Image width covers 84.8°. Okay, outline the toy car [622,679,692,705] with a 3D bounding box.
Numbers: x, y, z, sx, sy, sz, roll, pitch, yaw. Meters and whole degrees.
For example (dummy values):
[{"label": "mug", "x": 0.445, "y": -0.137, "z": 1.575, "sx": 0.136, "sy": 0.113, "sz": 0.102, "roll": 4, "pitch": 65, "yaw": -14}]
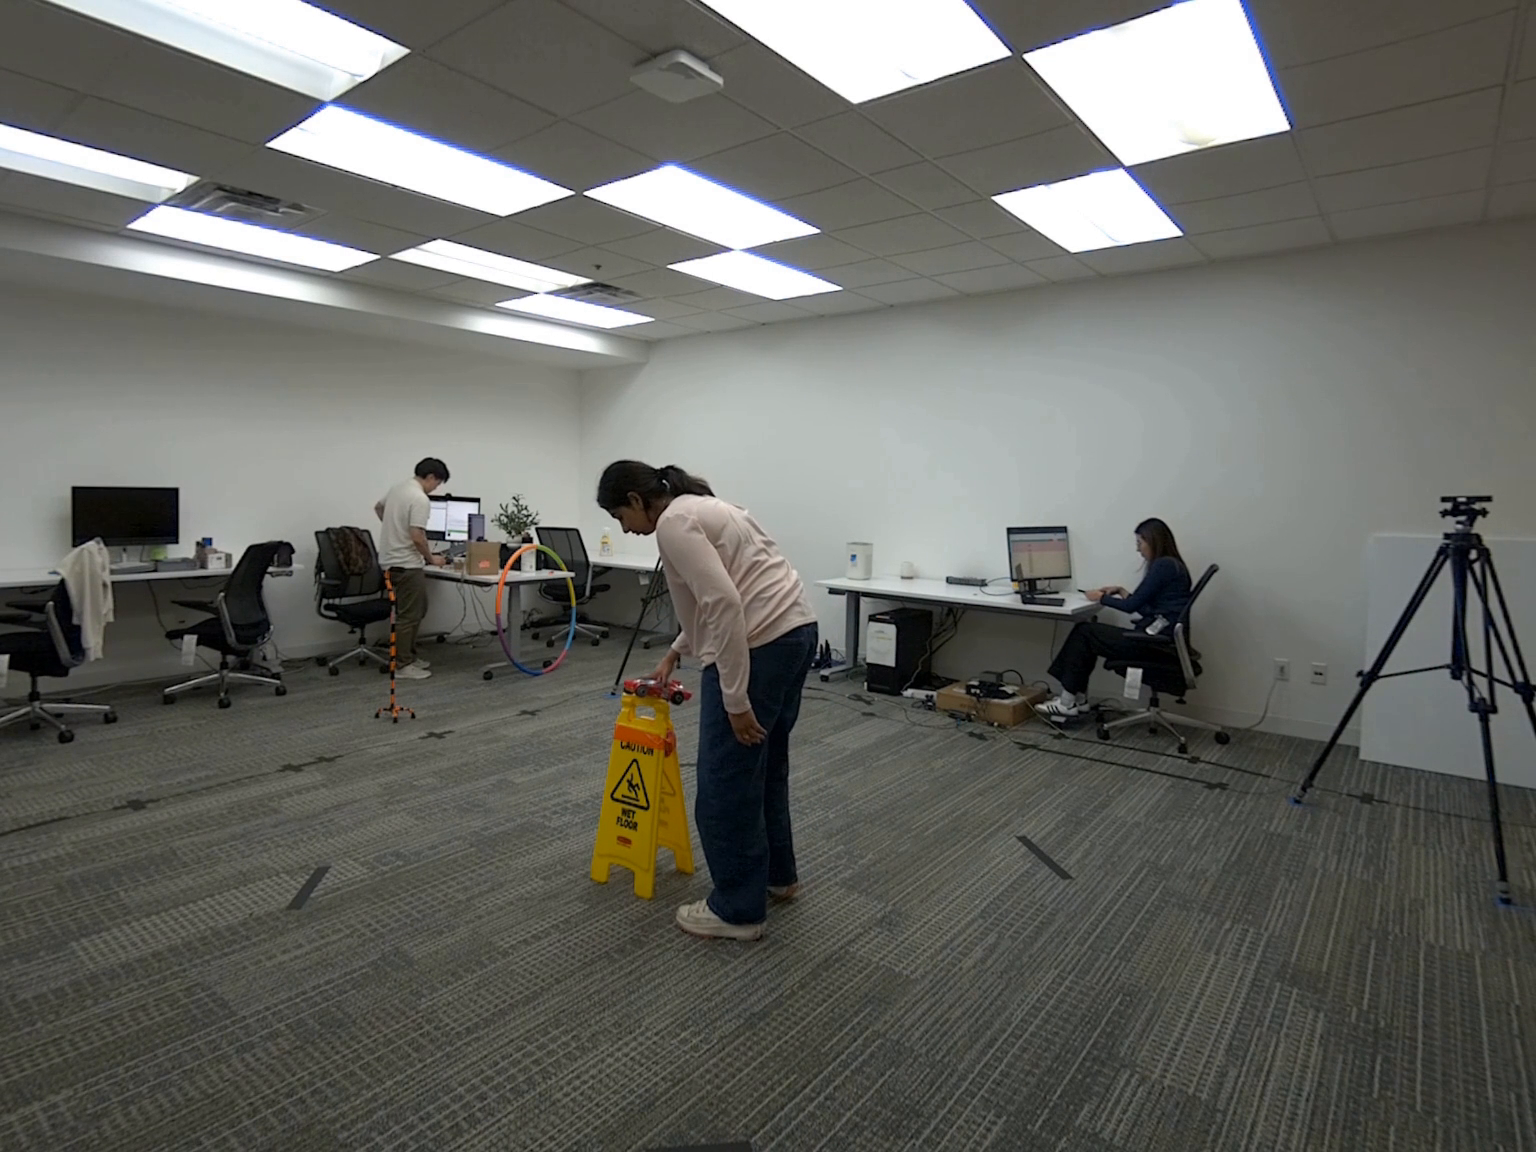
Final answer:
[{"label": "toy car", "x": -0.395, "y": 0.411, "z": 3.014, "sx": 0.247, "sy": 0.083, "sz": 0.134, "roll": 5, "pitch": -5, "yaw": -31}]
